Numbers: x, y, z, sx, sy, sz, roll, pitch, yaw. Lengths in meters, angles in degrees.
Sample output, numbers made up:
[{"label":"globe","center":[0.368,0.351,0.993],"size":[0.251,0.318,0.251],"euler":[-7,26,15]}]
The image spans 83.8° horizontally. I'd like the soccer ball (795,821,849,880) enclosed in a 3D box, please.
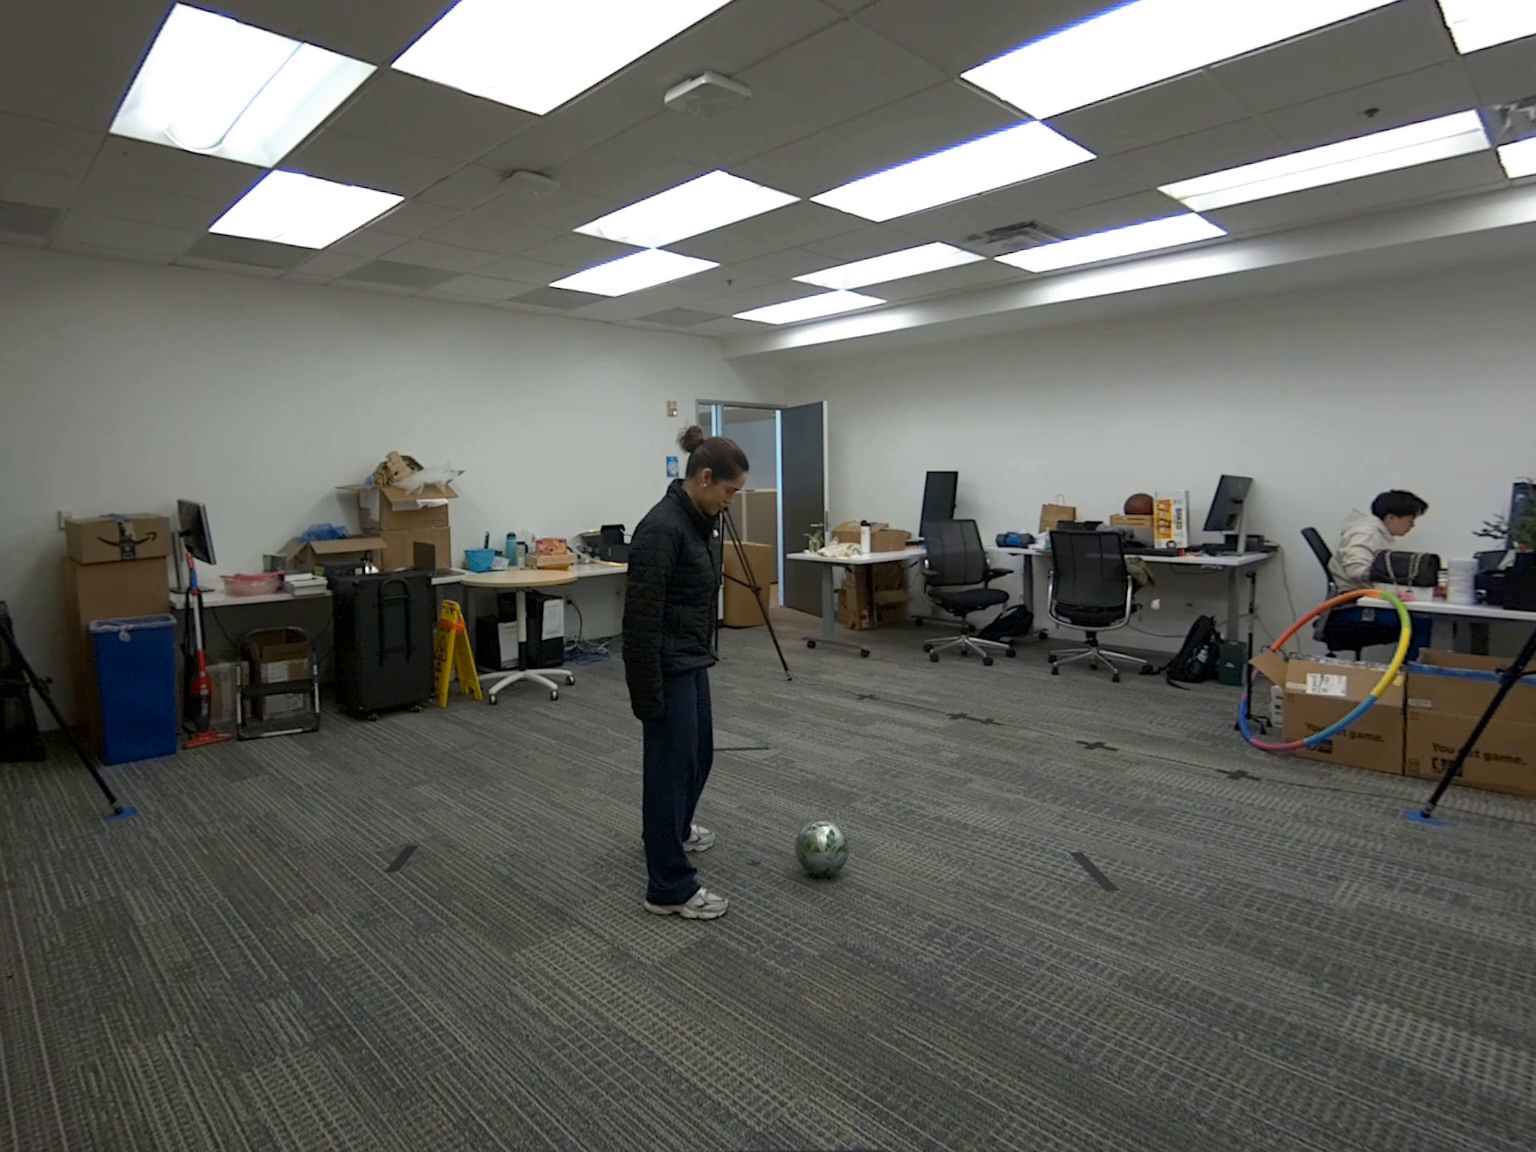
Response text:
[{"label":"soccer ball","center":[0.192,0.955,3.000],"size":[0.187,0.187,0.188],"euler":[-1,5,-2]}]
